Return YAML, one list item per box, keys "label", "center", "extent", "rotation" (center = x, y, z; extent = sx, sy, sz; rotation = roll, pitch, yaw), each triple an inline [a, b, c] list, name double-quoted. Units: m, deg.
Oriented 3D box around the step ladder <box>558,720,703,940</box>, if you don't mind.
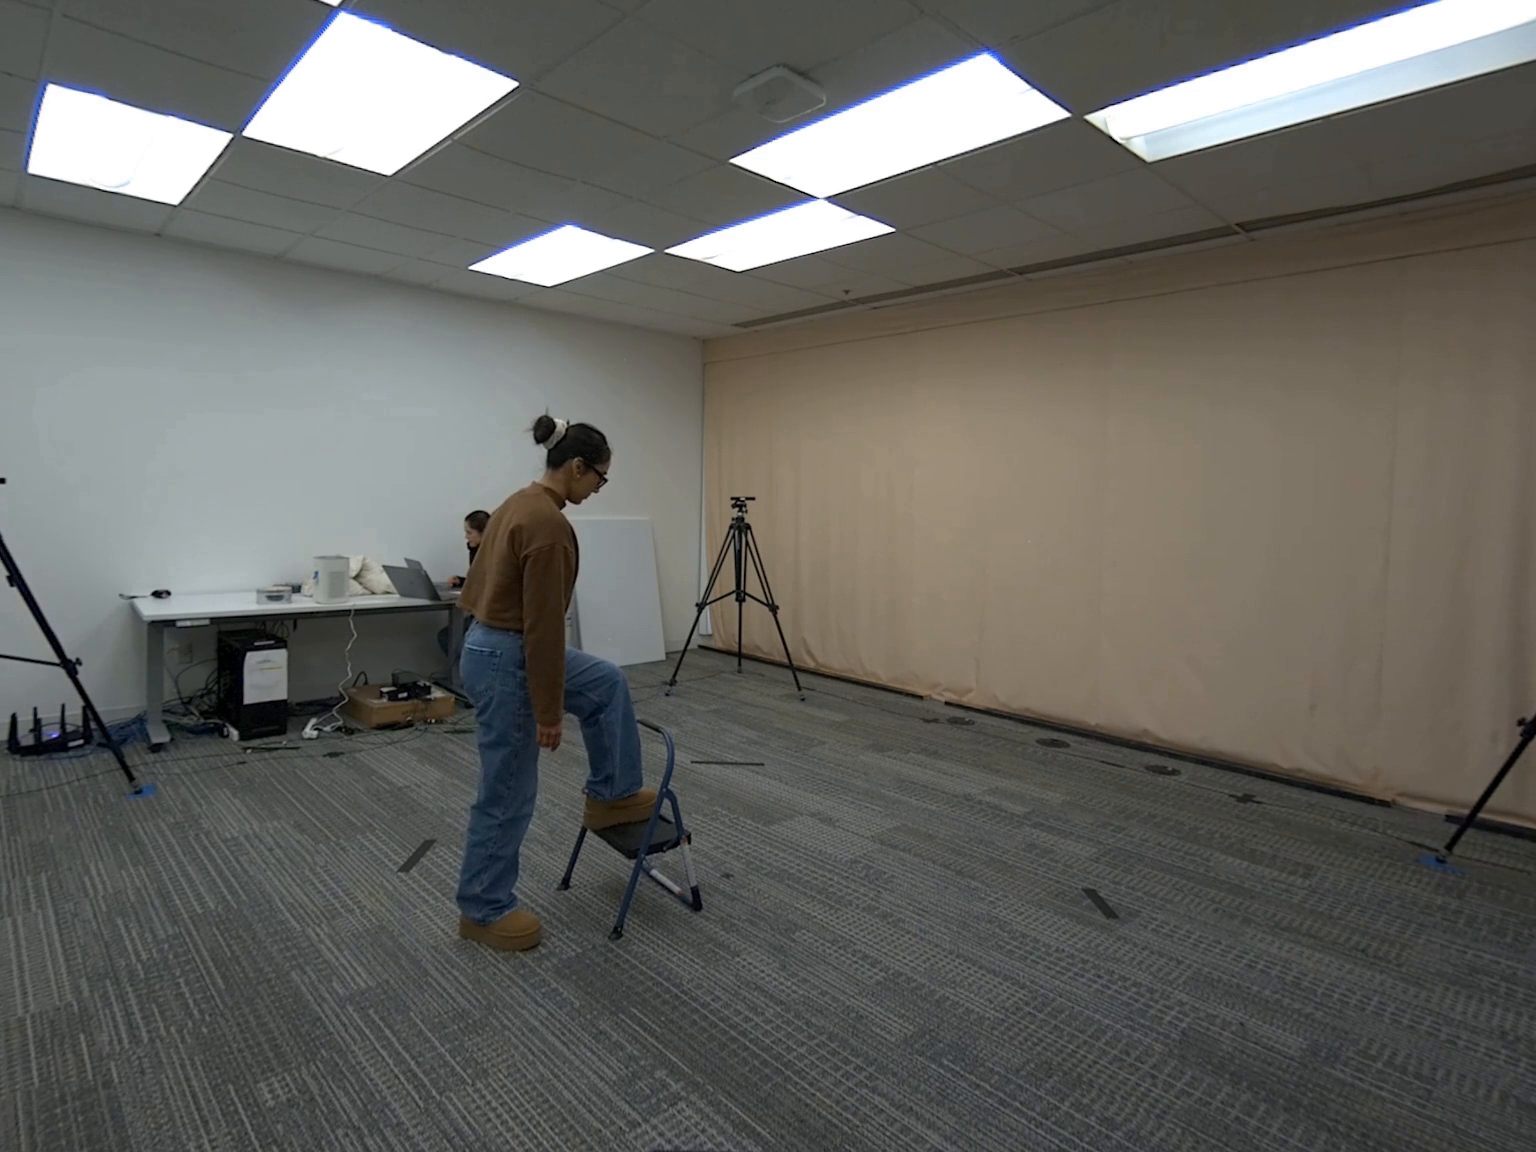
- label: "step ladder"
  center: [-0.476, 0.816, 2.889]
  extent: [0.341, 0.605, 0.441]
  rotation: [-1, 4, -37]
